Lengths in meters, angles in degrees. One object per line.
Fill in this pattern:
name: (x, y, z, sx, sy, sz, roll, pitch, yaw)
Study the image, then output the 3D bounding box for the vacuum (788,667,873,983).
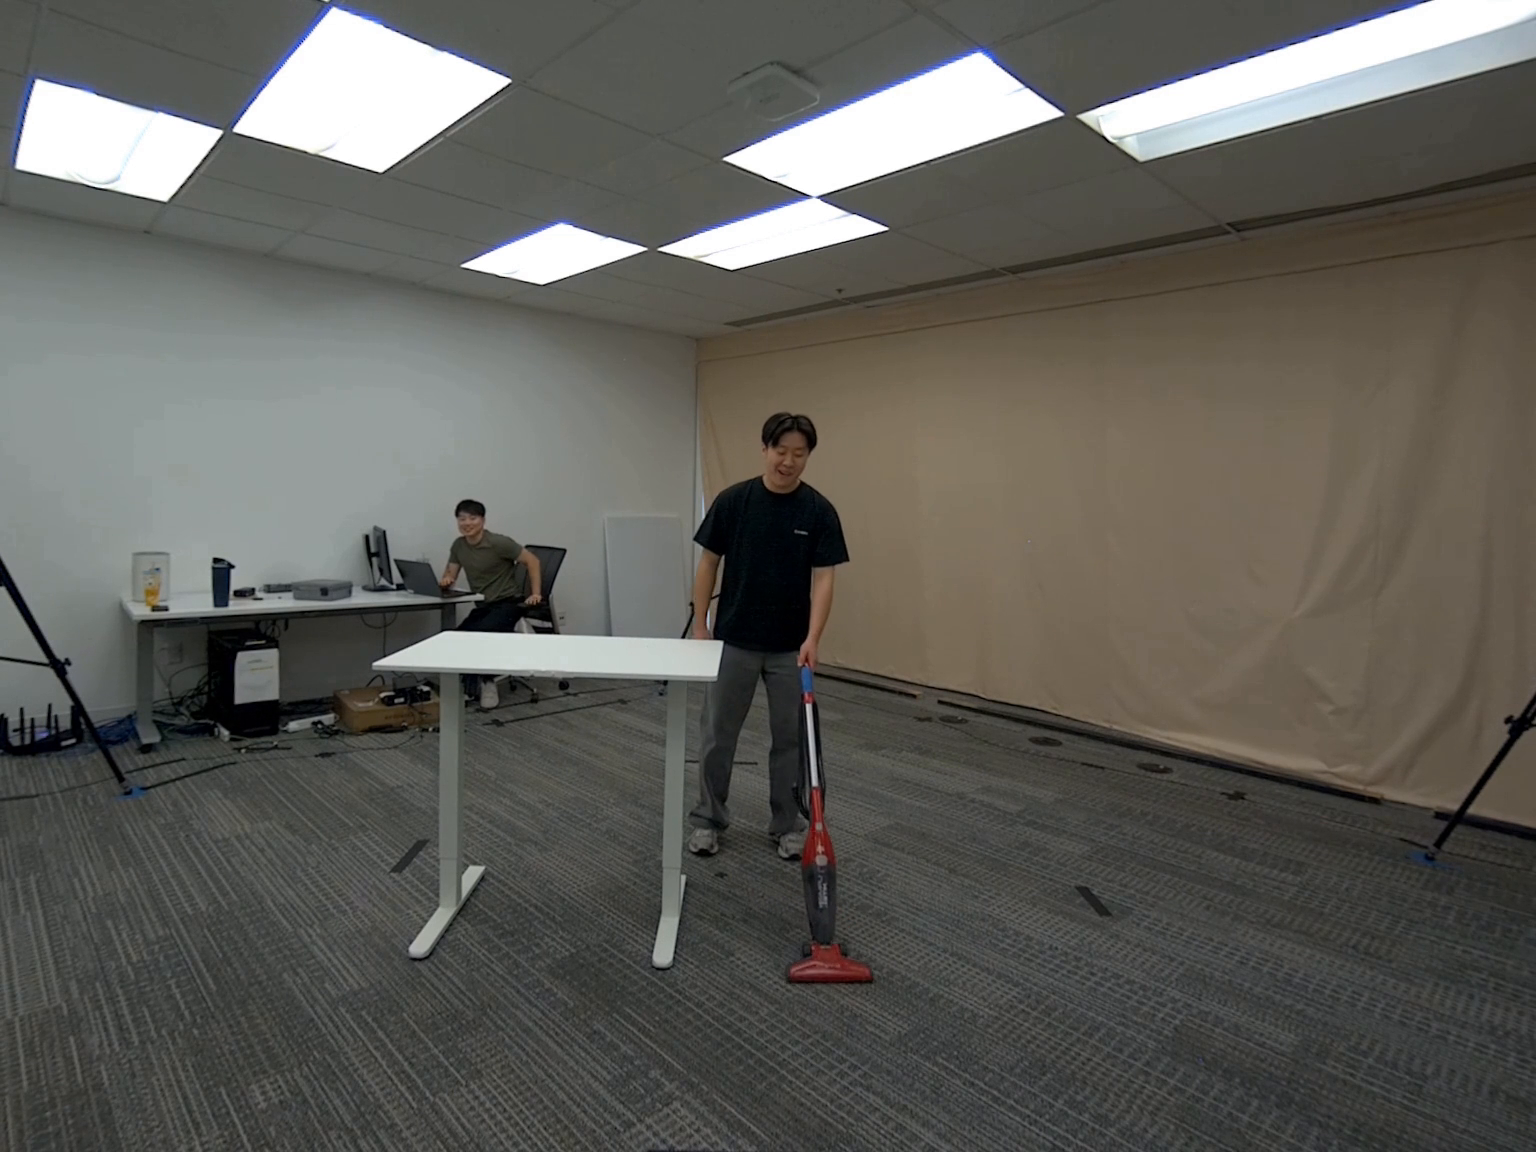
vacuum: (0.145, 0.725, 2.804, 0.252, 1.073, 0.141, -1, -36, -3)
